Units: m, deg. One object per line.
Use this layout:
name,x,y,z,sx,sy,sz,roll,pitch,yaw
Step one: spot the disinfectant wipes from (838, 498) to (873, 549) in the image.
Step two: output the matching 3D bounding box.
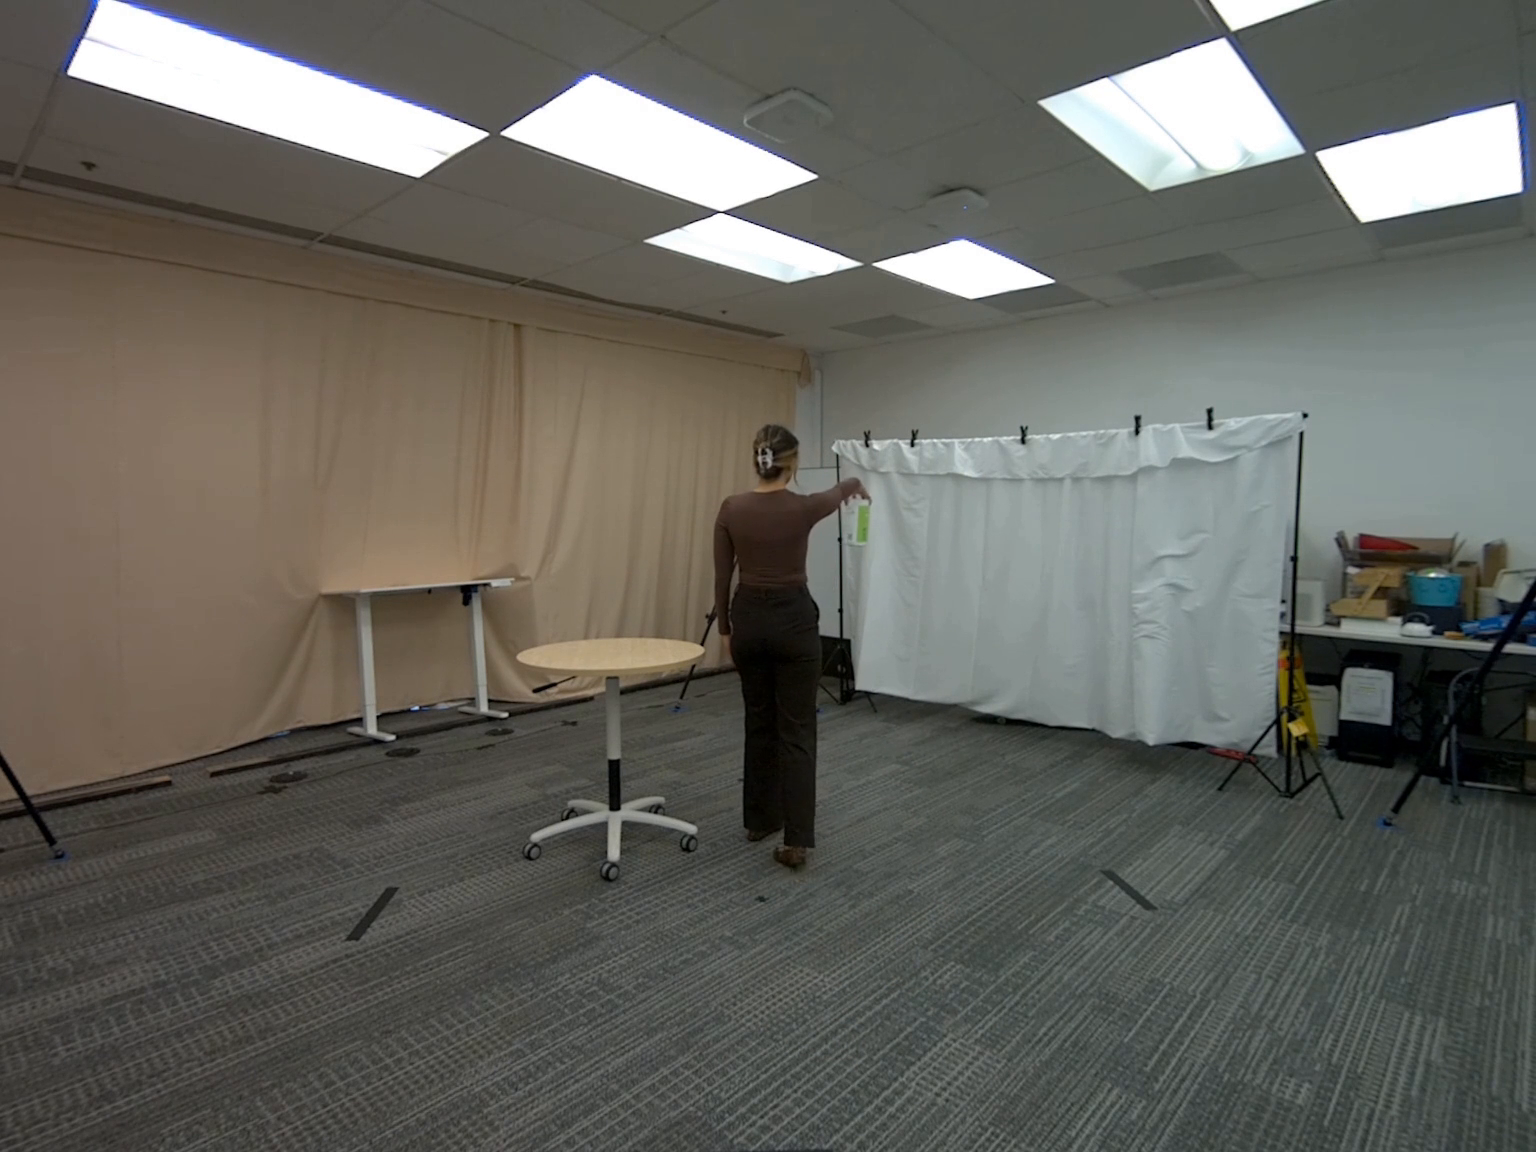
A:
disinfectant wipes,0.397,-0.245,3.863,0.117,0.217,0.118,4,6,-2
